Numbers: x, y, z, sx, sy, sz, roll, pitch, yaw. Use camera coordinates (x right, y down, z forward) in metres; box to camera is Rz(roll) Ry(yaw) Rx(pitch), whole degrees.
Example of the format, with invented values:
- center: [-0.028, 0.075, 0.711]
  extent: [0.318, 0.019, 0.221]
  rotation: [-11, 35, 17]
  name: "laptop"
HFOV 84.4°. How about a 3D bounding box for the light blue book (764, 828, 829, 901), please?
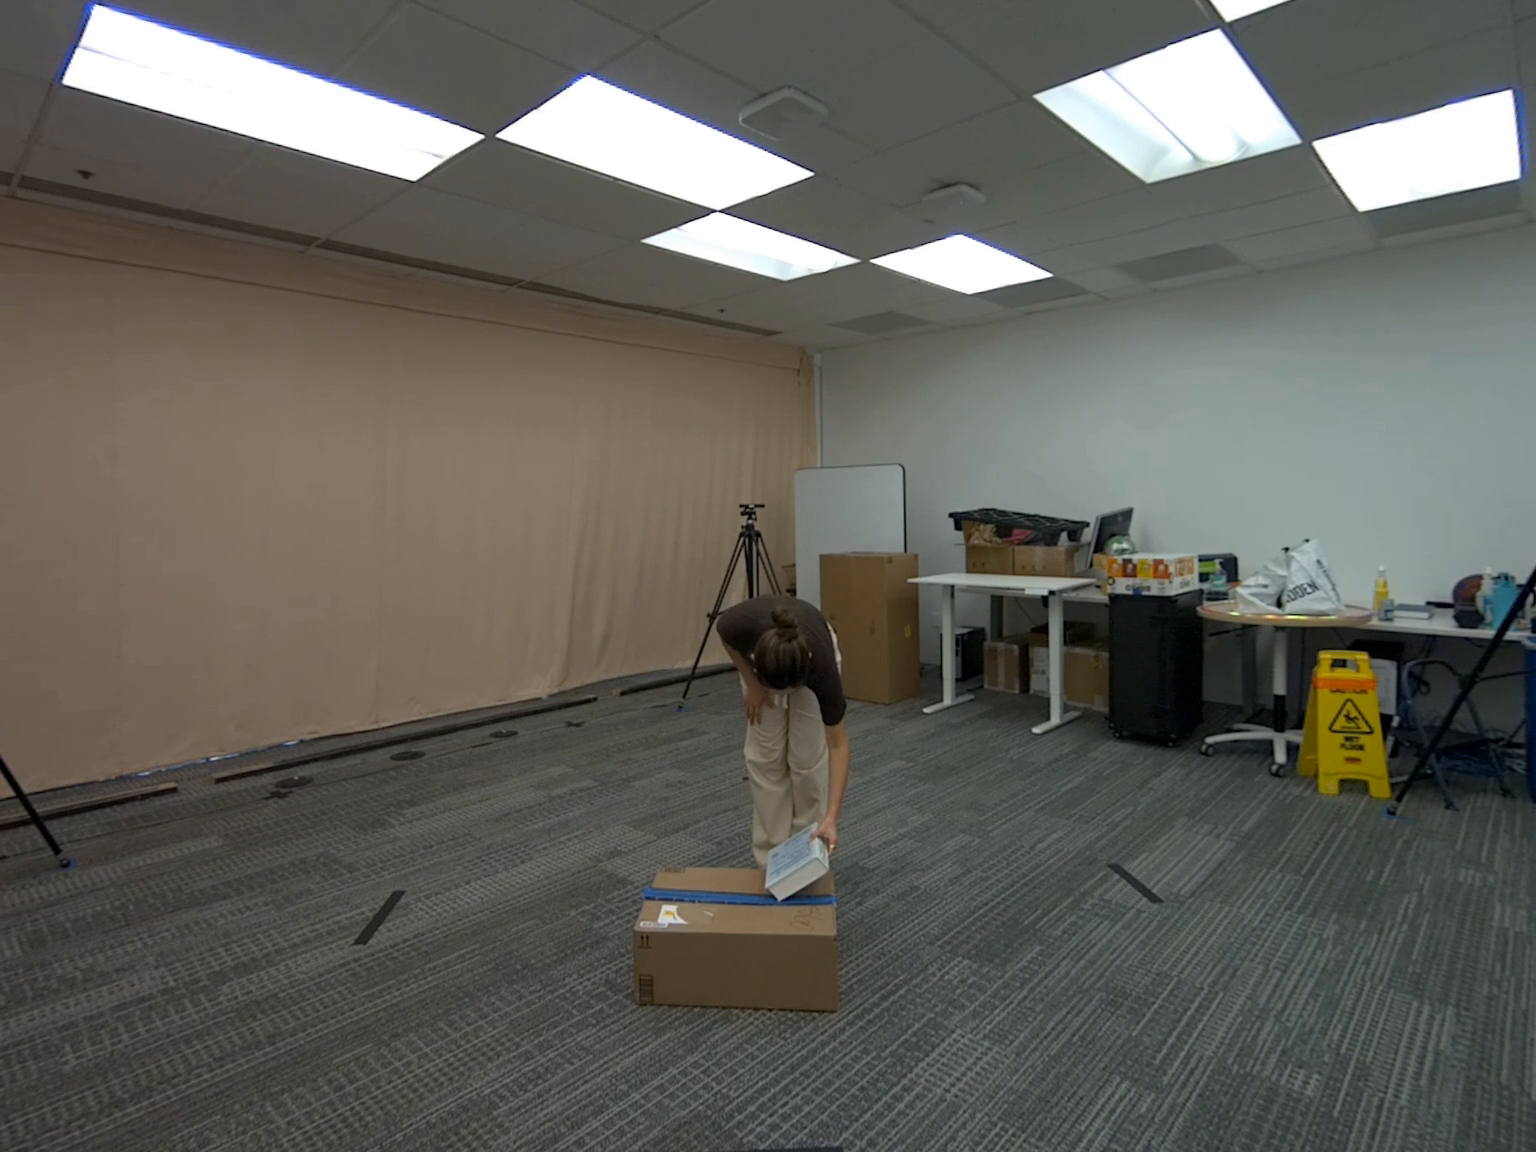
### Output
- center: [0.088, 0.881, 2.624]
  extent: [0.192, 0.059, 0.260]
  rotation: [-35, 3, 6]
  name: "light blue book"
